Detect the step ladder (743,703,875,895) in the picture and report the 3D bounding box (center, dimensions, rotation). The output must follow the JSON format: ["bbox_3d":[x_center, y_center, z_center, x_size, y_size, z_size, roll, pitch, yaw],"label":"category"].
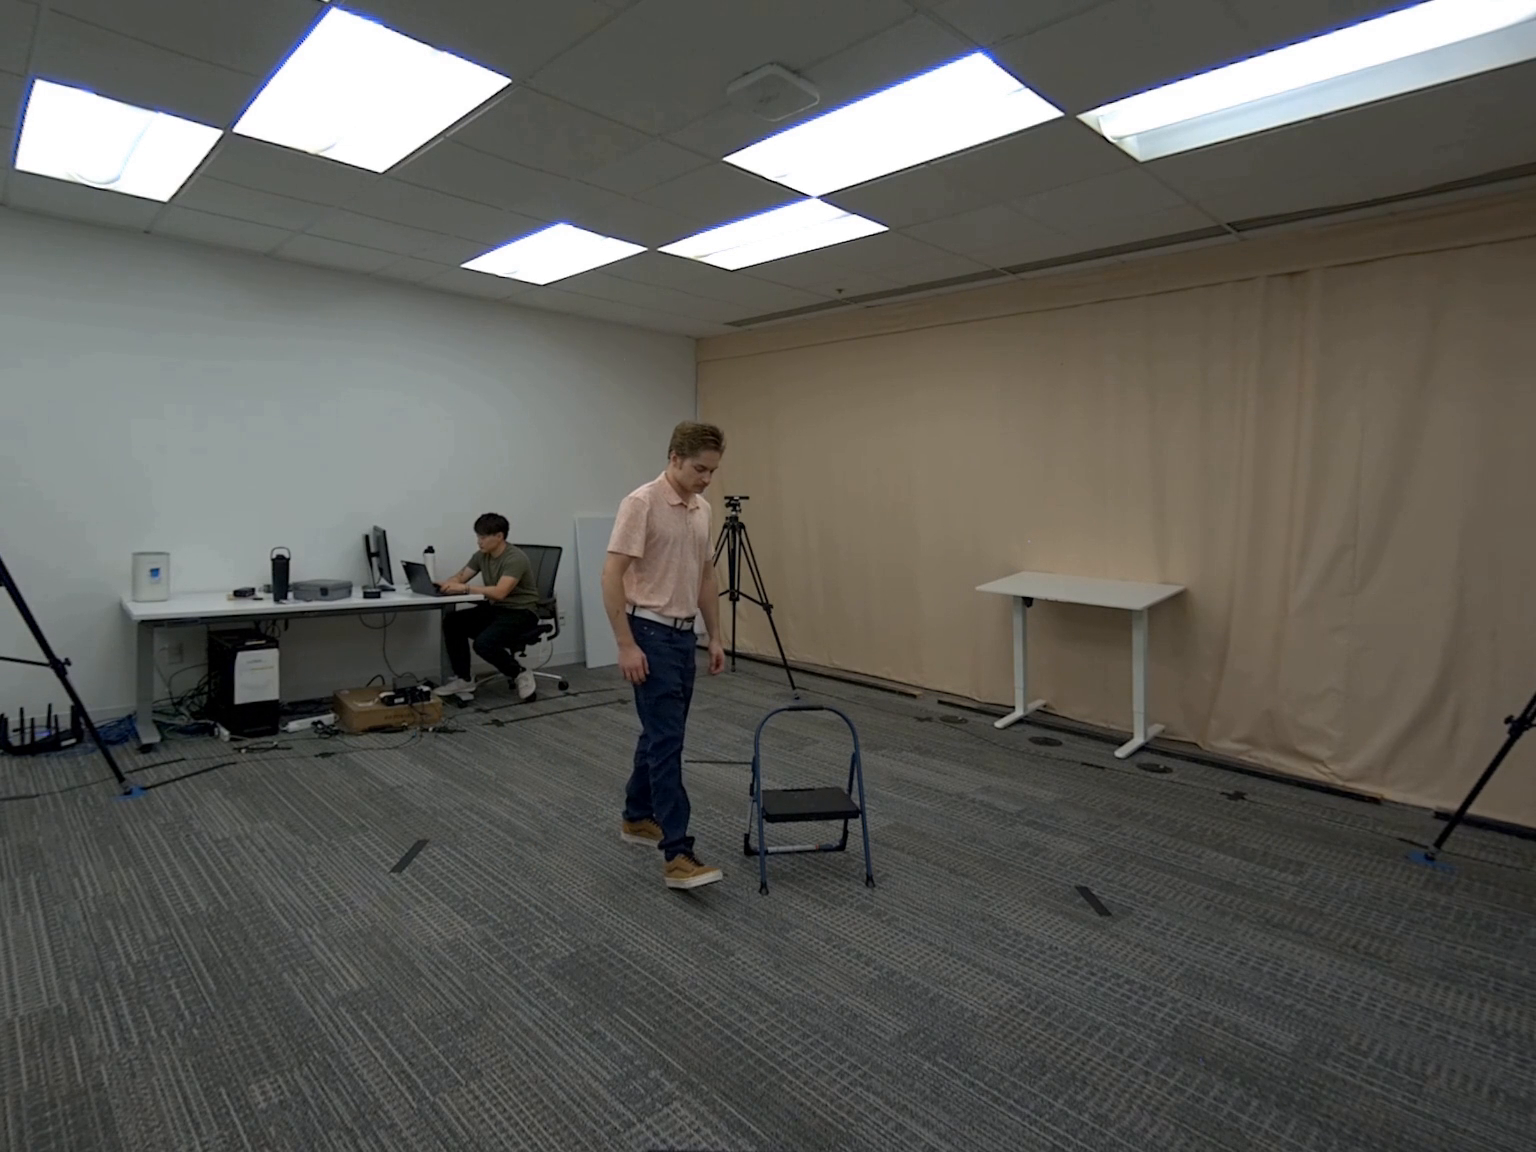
[{"bbox_3d":[0.144,0.803,3.147,0.426,0.605,0.353,1,3,-13],"label":"step ladder"}]
